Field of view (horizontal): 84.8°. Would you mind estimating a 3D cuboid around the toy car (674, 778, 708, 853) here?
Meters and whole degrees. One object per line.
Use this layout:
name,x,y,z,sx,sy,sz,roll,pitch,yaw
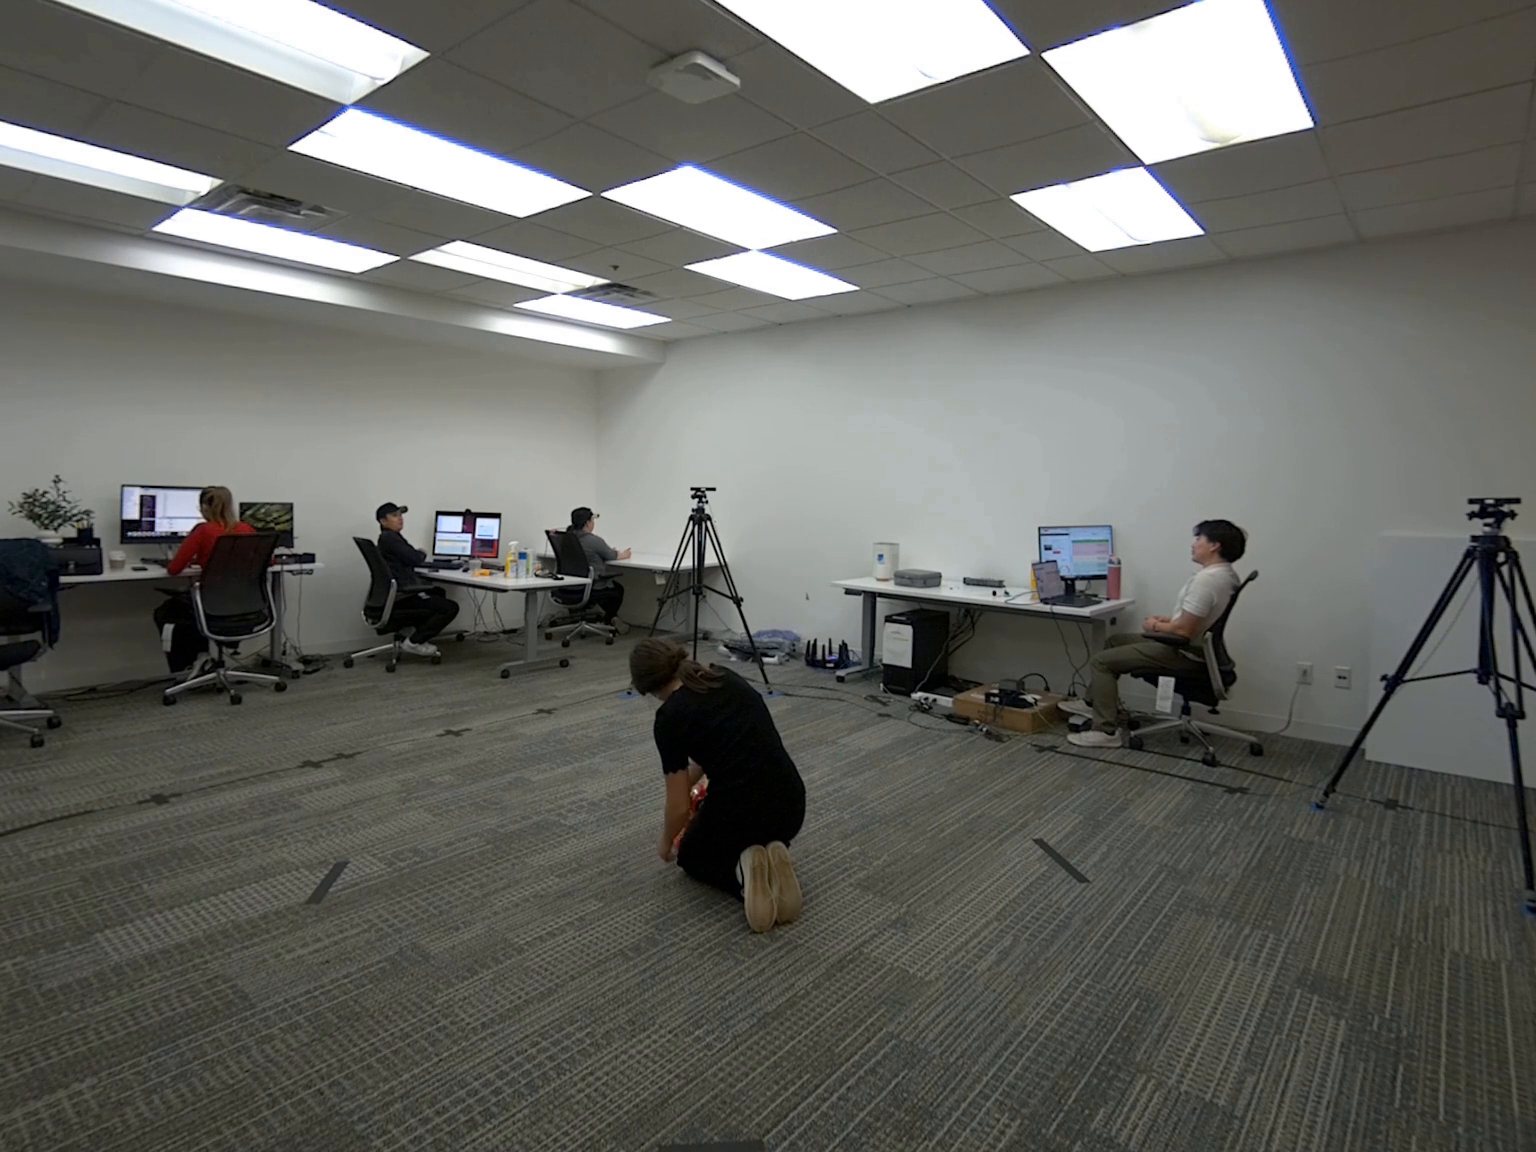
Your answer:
toy car,-0.298,0.923,3.313,0.083,0.255,0.131,15,-2,-6
